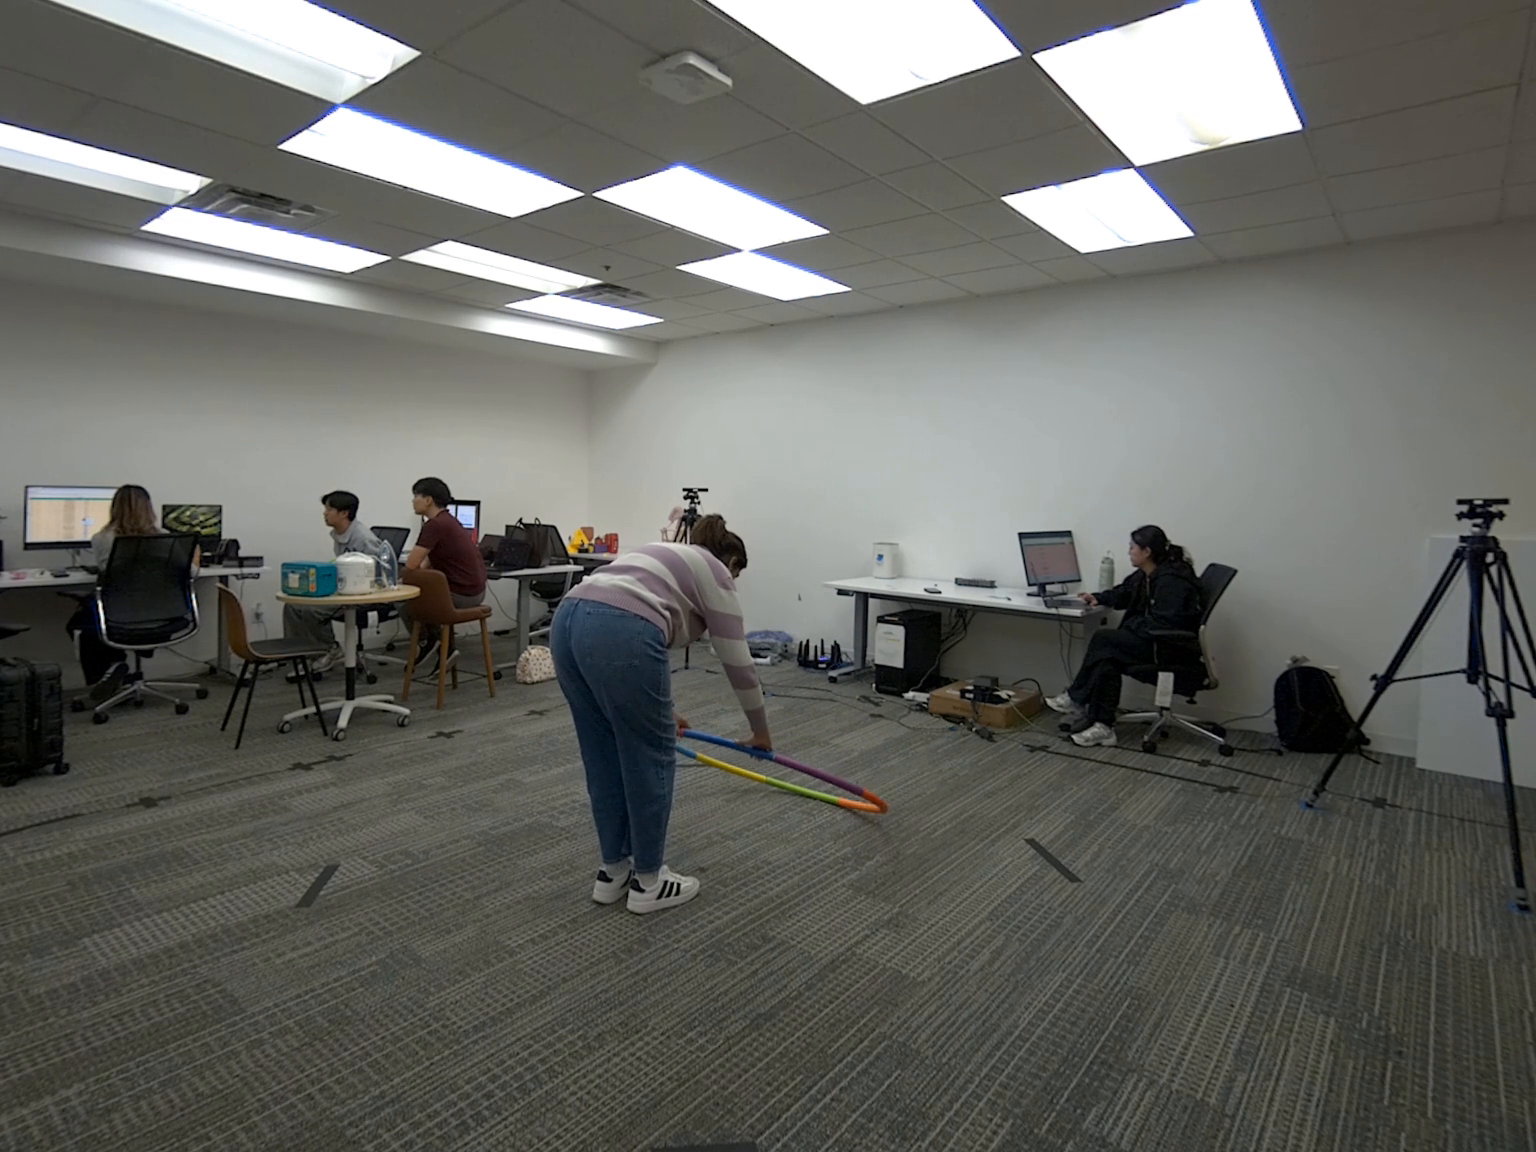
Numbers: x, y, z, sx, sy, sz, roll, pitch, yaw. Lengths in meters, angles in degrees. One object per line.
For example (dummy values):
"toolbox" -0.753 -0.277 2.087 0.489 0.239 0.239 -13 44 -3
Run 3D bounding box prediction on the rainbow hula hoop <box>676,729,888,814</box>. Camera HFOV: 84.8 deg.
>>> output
"rainbow hula hoop" -0.008 0.794 3.497 0.986 0.036 0.963 18 -17 4
